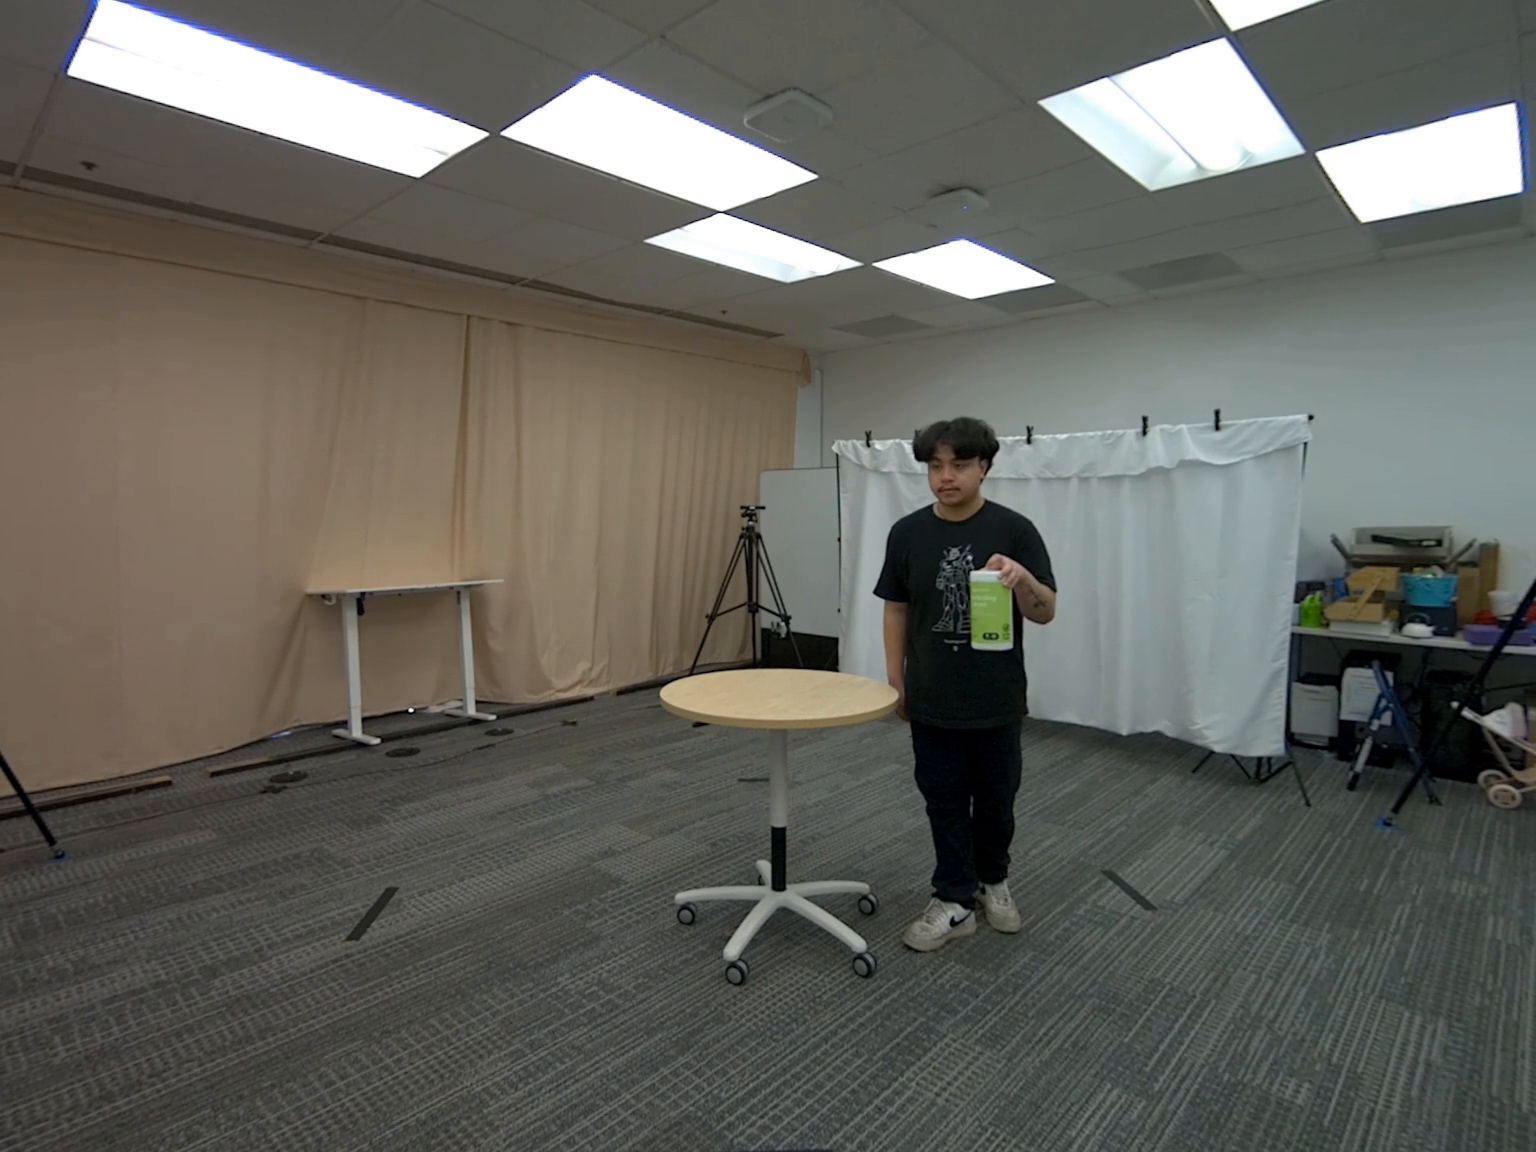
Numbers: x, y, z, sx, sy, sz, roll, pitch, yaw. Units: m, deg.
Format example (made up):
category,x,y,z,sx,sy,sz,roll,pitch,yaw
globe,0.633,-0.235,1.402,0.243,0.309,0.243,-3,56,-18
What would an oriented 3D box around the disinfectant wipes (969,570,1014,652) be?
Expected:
category,x,y,z,sx,sy,sz,roll,pitch,yaw
disinfectant wipes,0.619,0.094,2.327,0.118,0.217,0.118,0,1,-2
